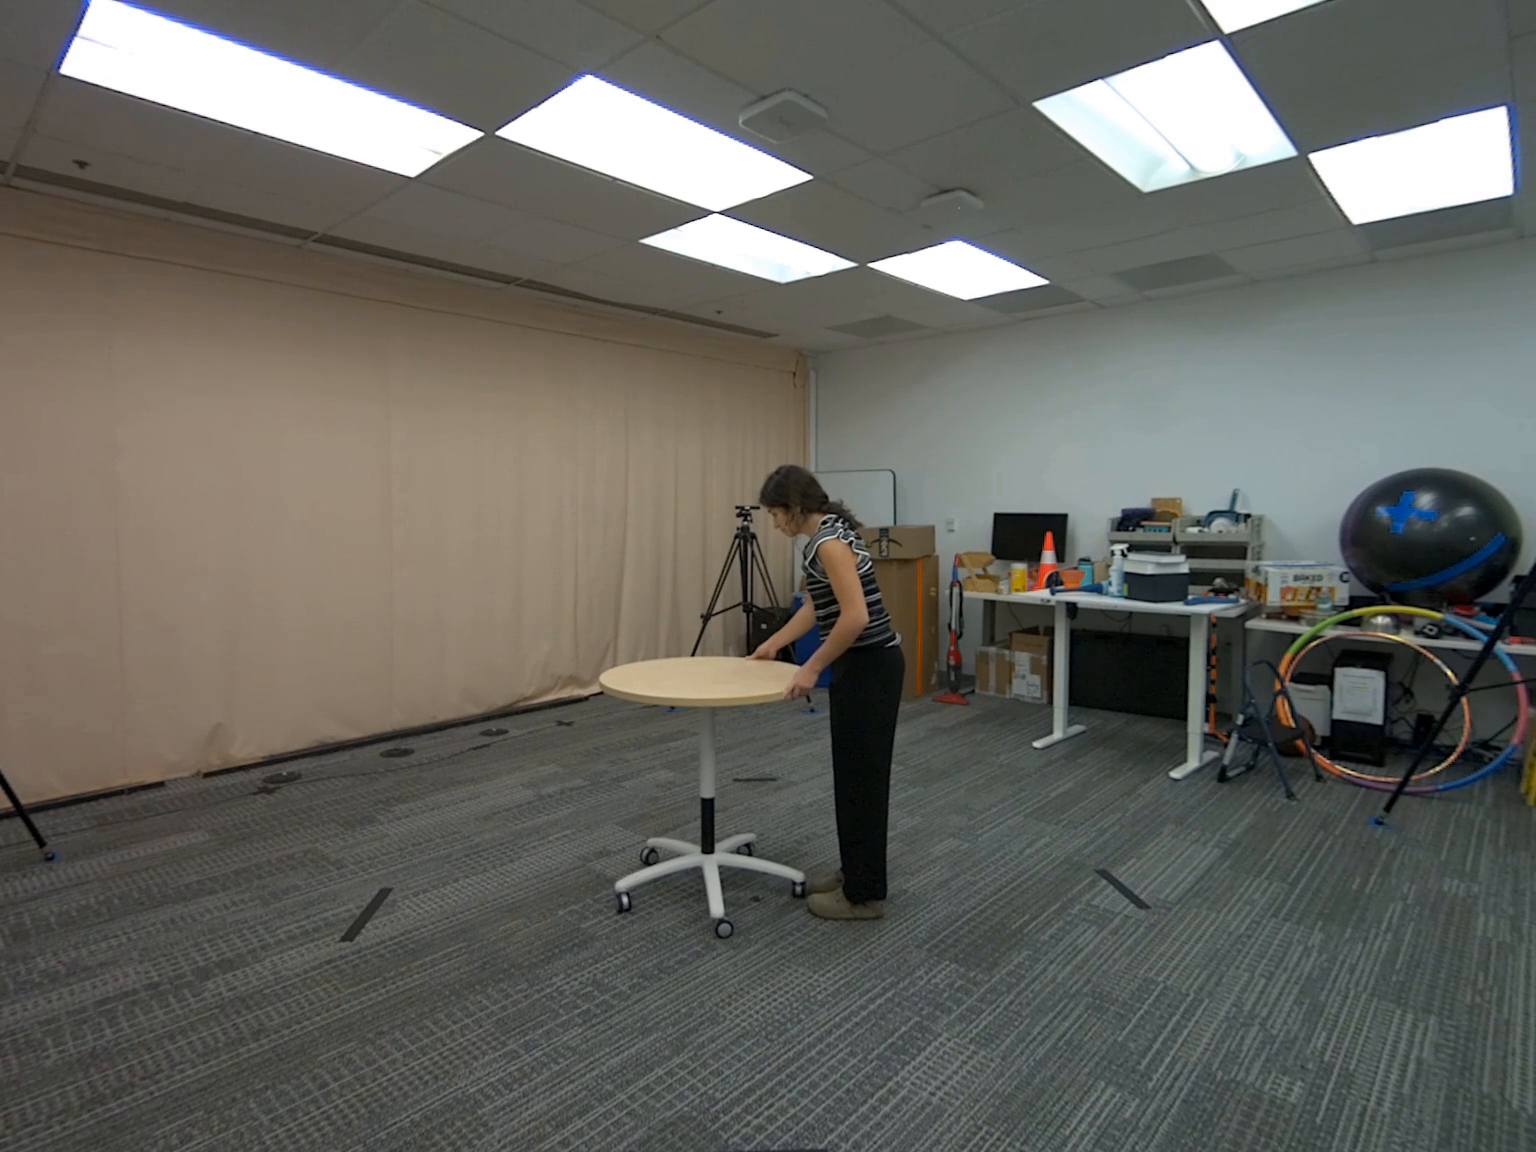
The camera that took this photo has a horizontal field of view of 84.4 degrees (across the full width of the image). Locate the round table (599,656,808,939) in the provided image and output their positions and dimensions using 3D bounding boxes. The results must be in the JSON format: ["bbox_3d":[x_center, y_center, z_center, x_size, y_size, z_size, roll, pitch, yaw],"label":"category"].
[{"bbox_3d":[-0.208,0.749,3.035,0.784,0.785,0.787,-1,3,-2],"label":"round table"}]
